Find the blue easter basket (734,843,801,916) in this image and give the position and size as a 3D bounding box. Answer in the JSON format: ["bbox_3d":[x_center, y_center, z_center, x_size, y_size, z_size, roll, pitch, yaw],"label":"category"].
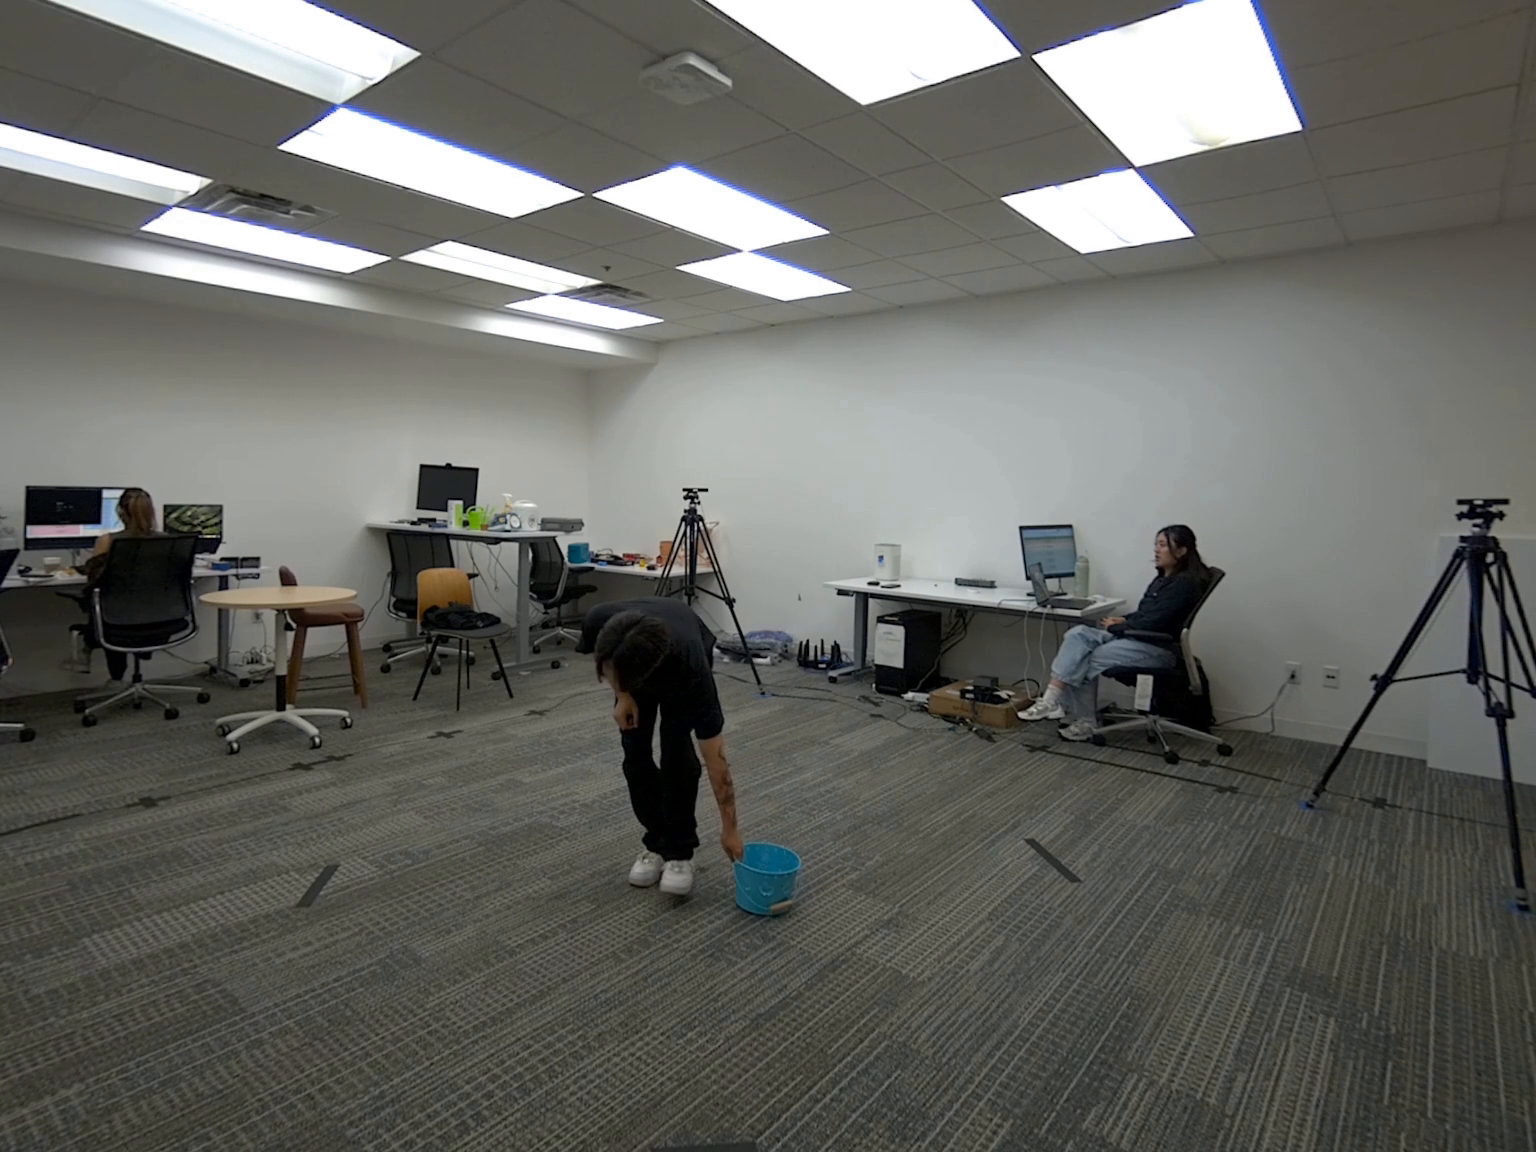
[{"bbox_3d":[-0.019,1.013,2.860,0.243,0.155,0.245,6,5,-2],"label":"blue easter basket"}]
